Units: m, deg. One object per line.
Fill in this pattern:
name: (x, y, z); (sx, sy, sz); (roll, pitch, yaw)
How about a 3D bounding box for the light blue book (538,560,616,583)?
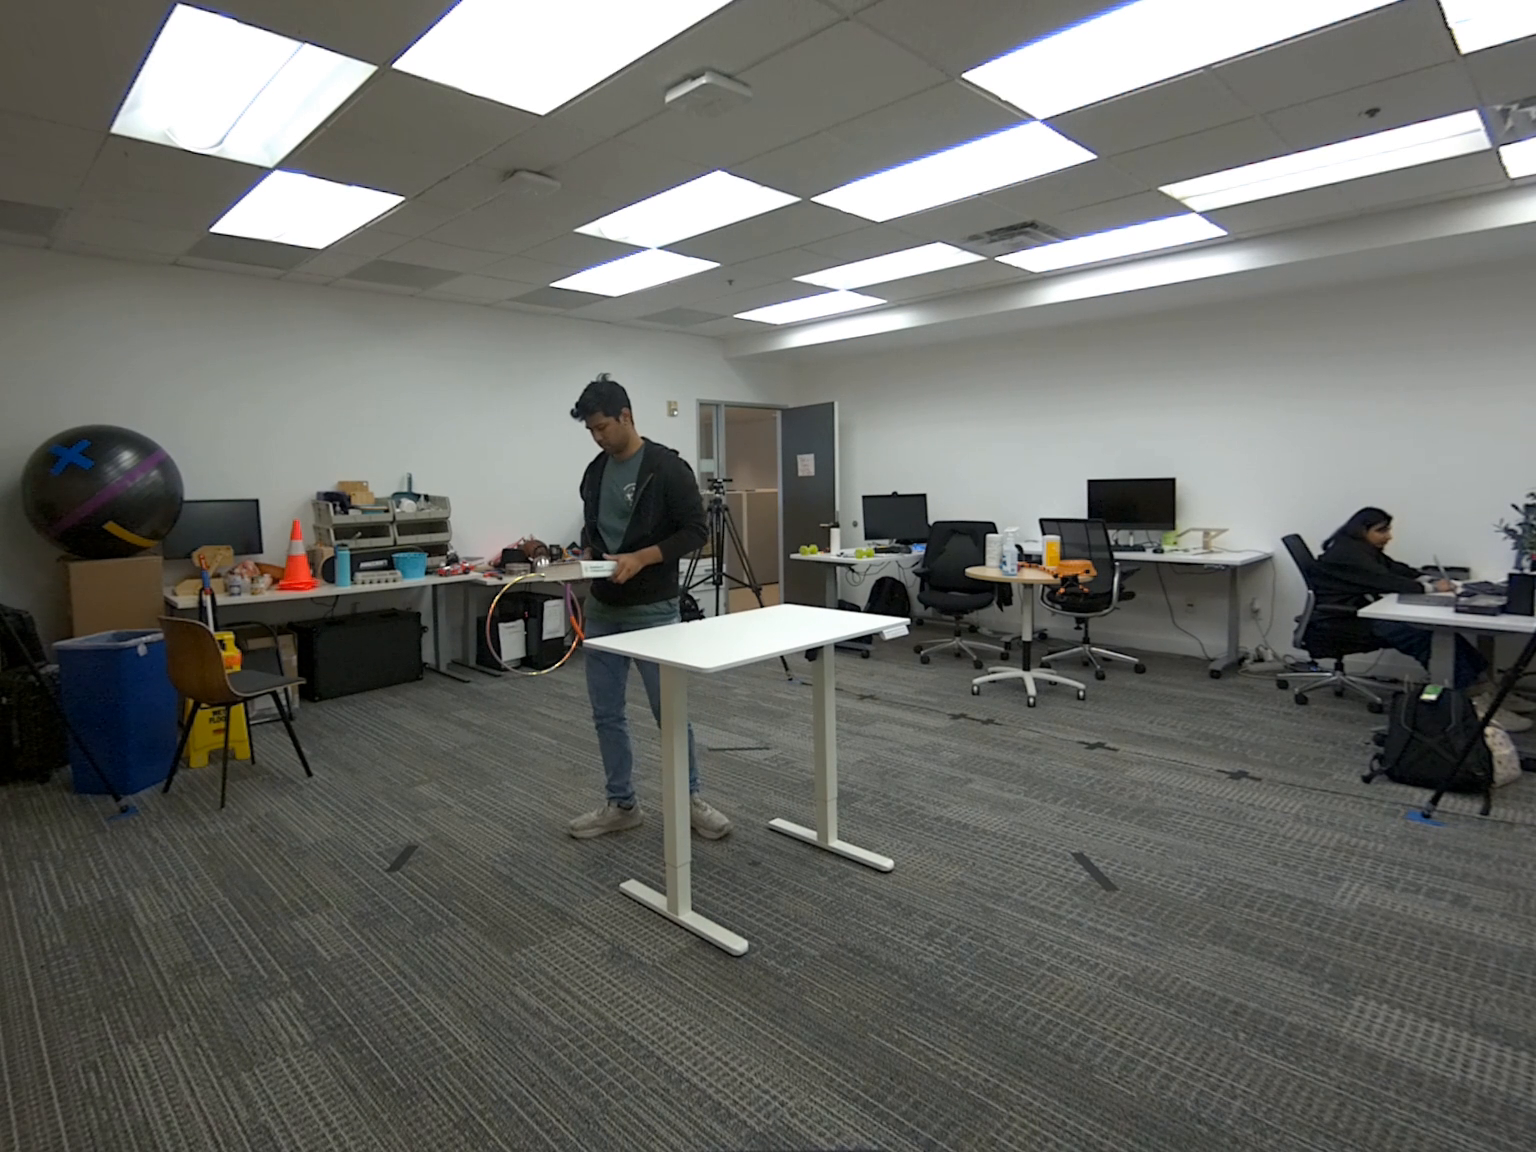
light blue book: (-0.679, -0.011, 3.128); (0.195, 0.059, 0.255); (-5, -1, 25)
